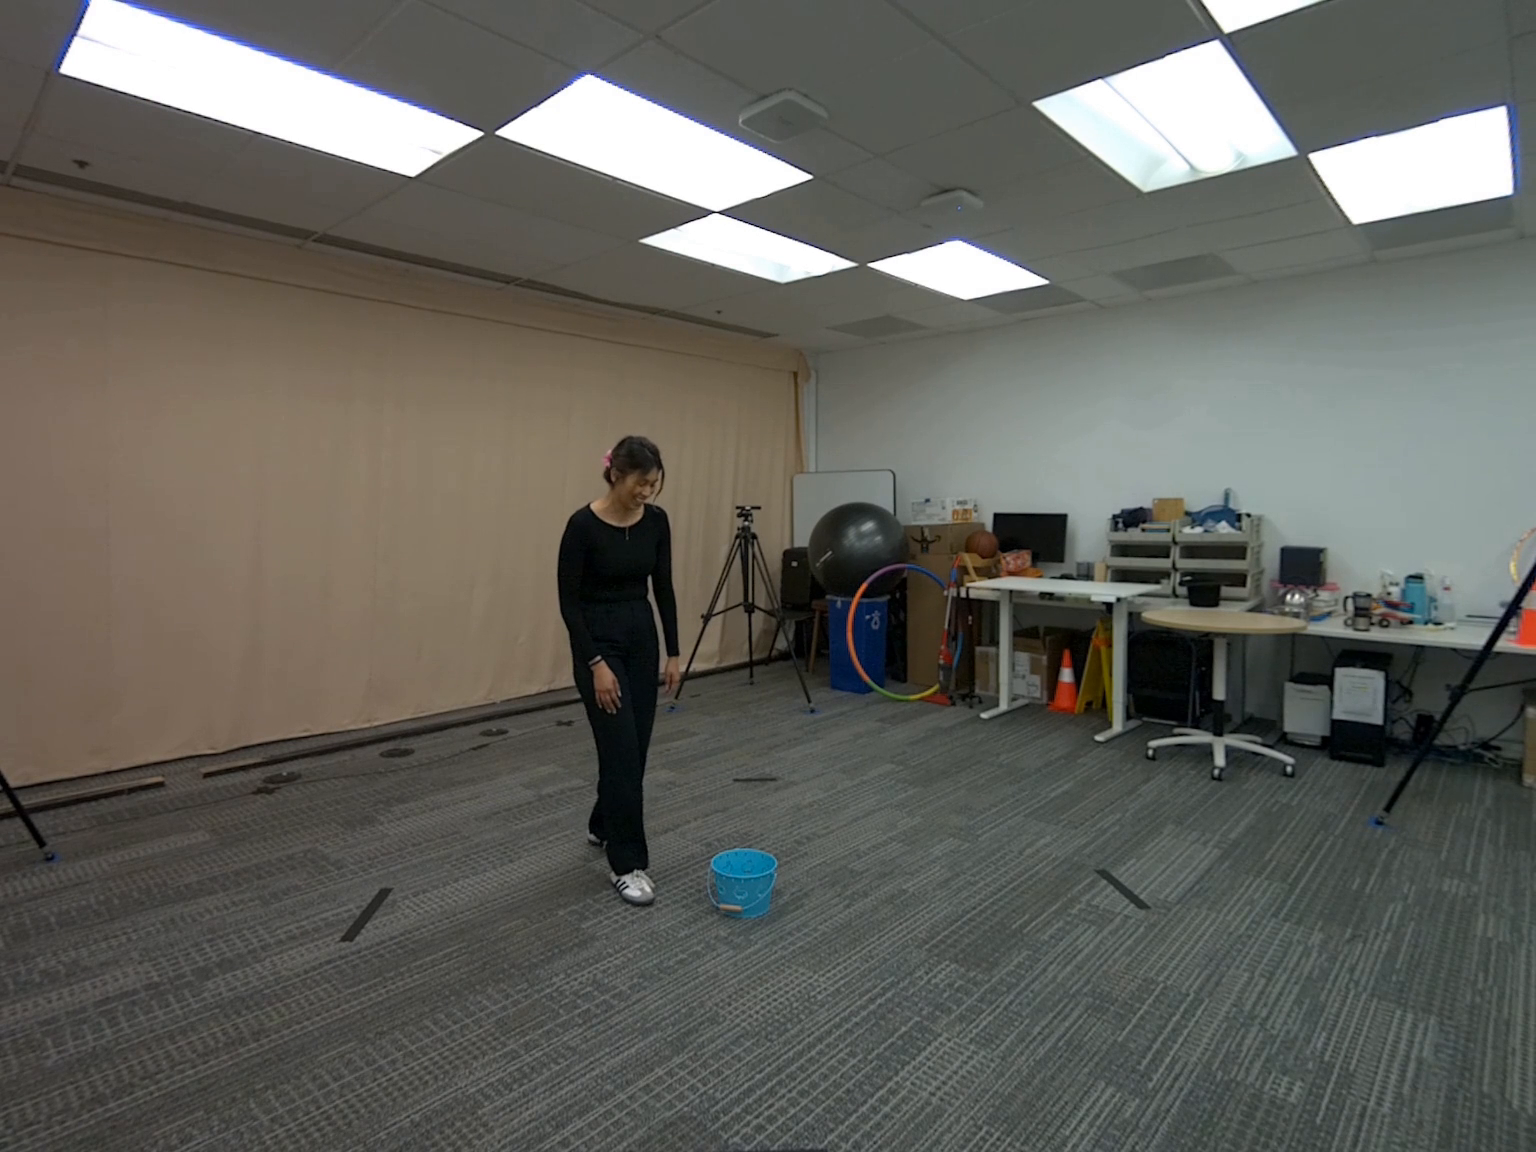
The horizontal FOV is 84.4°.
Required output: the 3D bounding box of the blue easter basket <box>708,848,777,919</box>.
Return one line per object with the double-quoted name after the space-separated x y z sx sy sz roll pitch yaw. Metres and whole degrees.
-0.087 1.069 2.927 0.243 0.155 0.244 0 4 -2 "blue easter basket"
